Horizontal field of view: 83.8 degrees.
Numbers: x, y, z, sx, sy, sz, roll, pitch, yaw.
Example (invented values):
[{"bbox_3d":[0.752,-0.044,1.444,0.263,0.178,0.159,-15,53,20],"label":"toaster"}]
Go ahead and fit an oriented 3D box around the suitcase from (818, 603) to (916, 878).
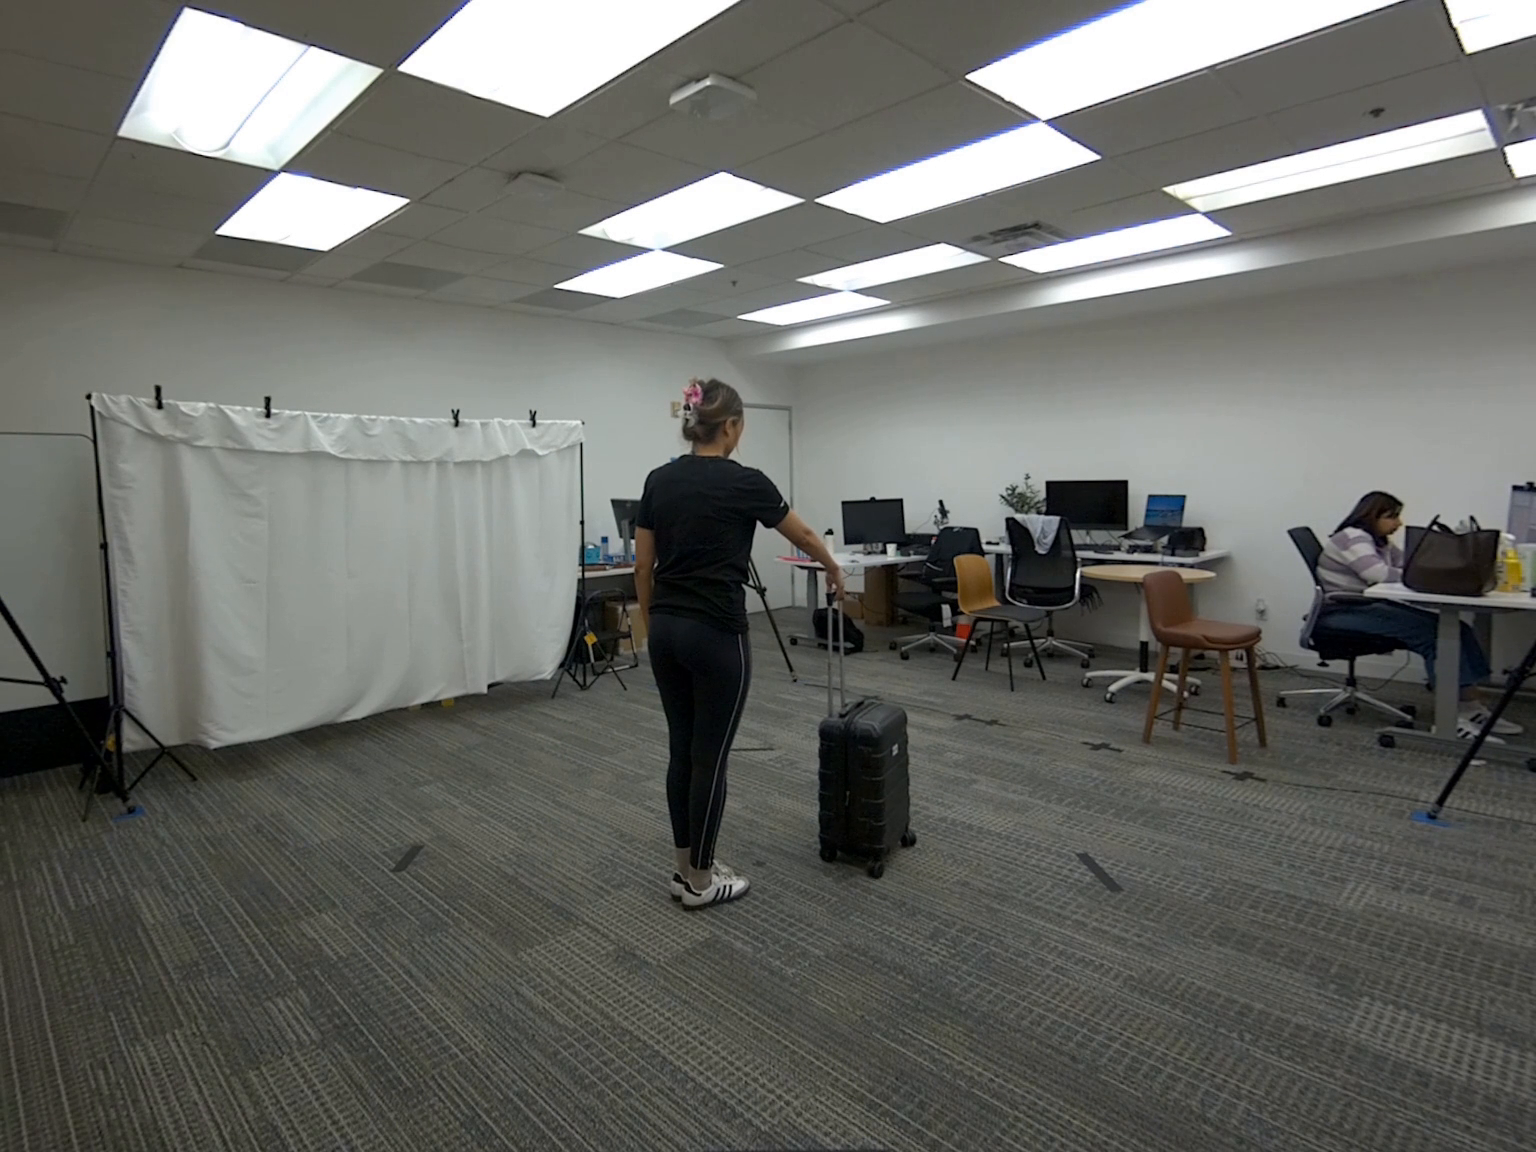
[{"bbox_3d":[0.363,0.557,3.162,0.263,0.975,0.376,1,5,28],"label":"suitcase"}]
